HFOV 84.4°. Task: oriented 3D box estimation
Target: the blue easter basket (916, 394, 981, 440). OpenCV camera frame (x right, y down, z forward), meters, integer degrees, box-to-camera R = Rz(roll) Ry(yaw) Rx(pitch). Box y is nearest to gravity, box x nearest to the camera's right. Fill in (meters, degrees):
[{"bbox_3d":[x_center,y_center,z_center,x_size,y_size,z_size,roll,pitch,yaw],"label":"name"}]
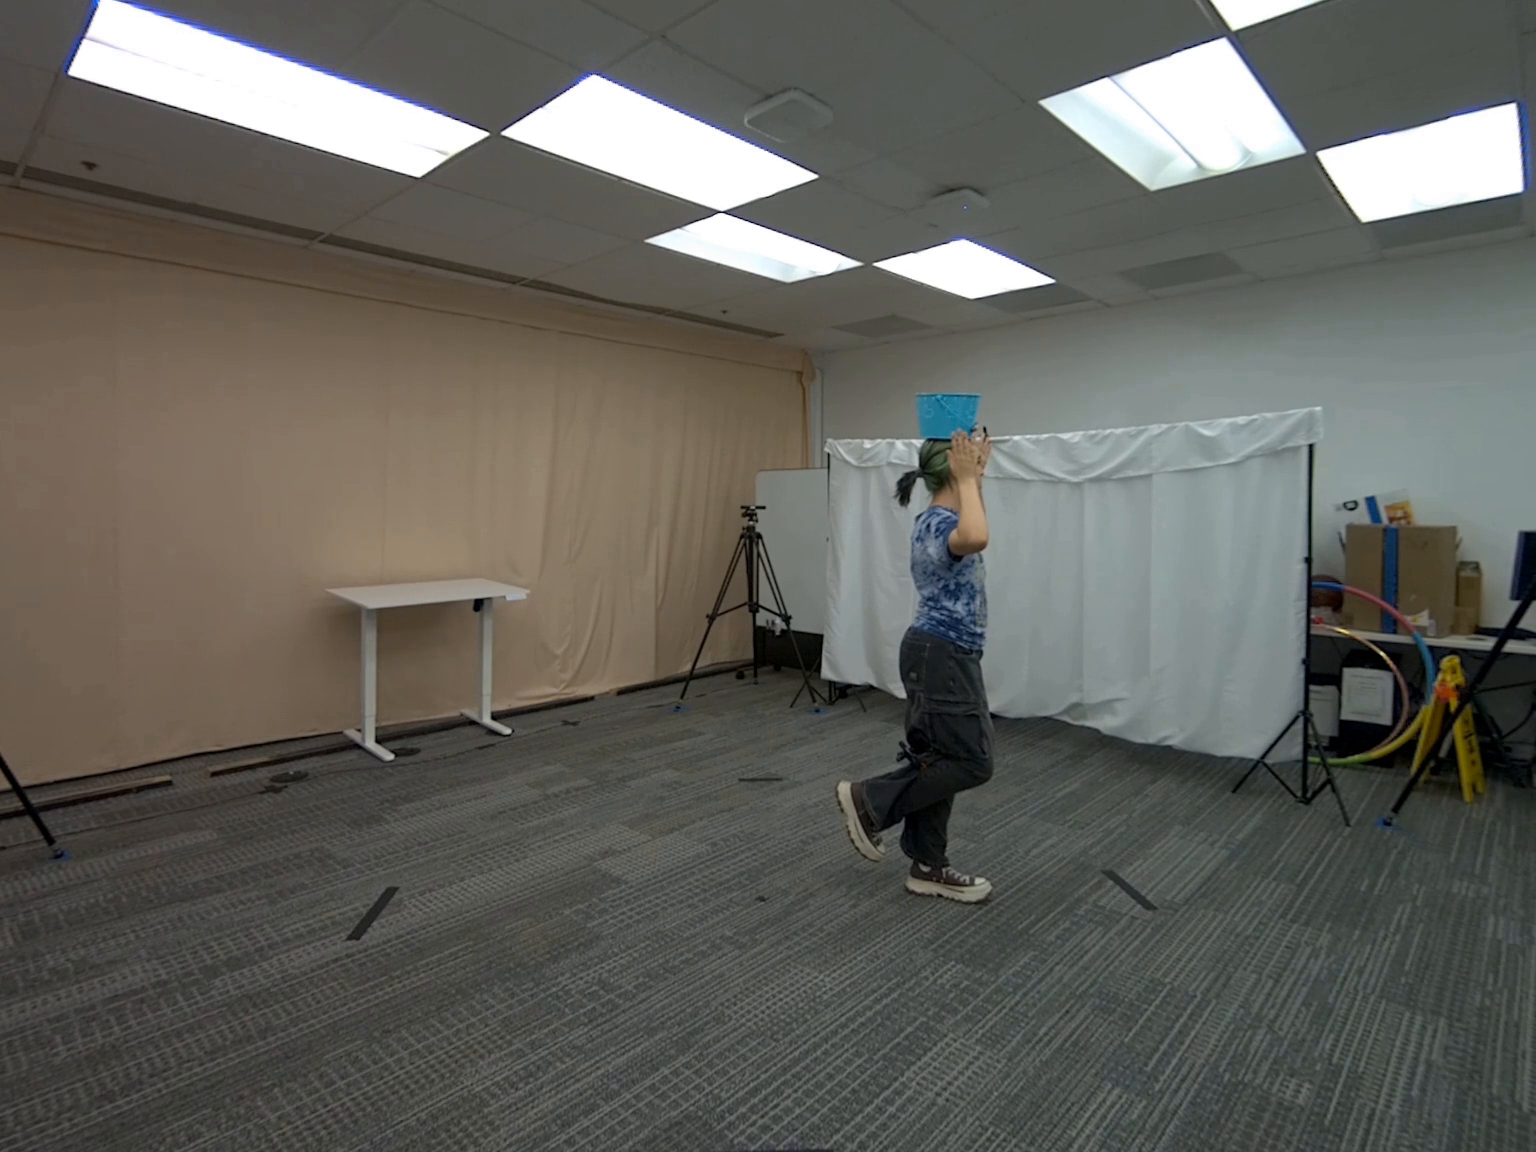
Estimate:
[{"bbox_3d":[0.642,-0.563,2.979,0.243,0.155,0.245,1,10,-2],"label":"blue easter basket"}]
